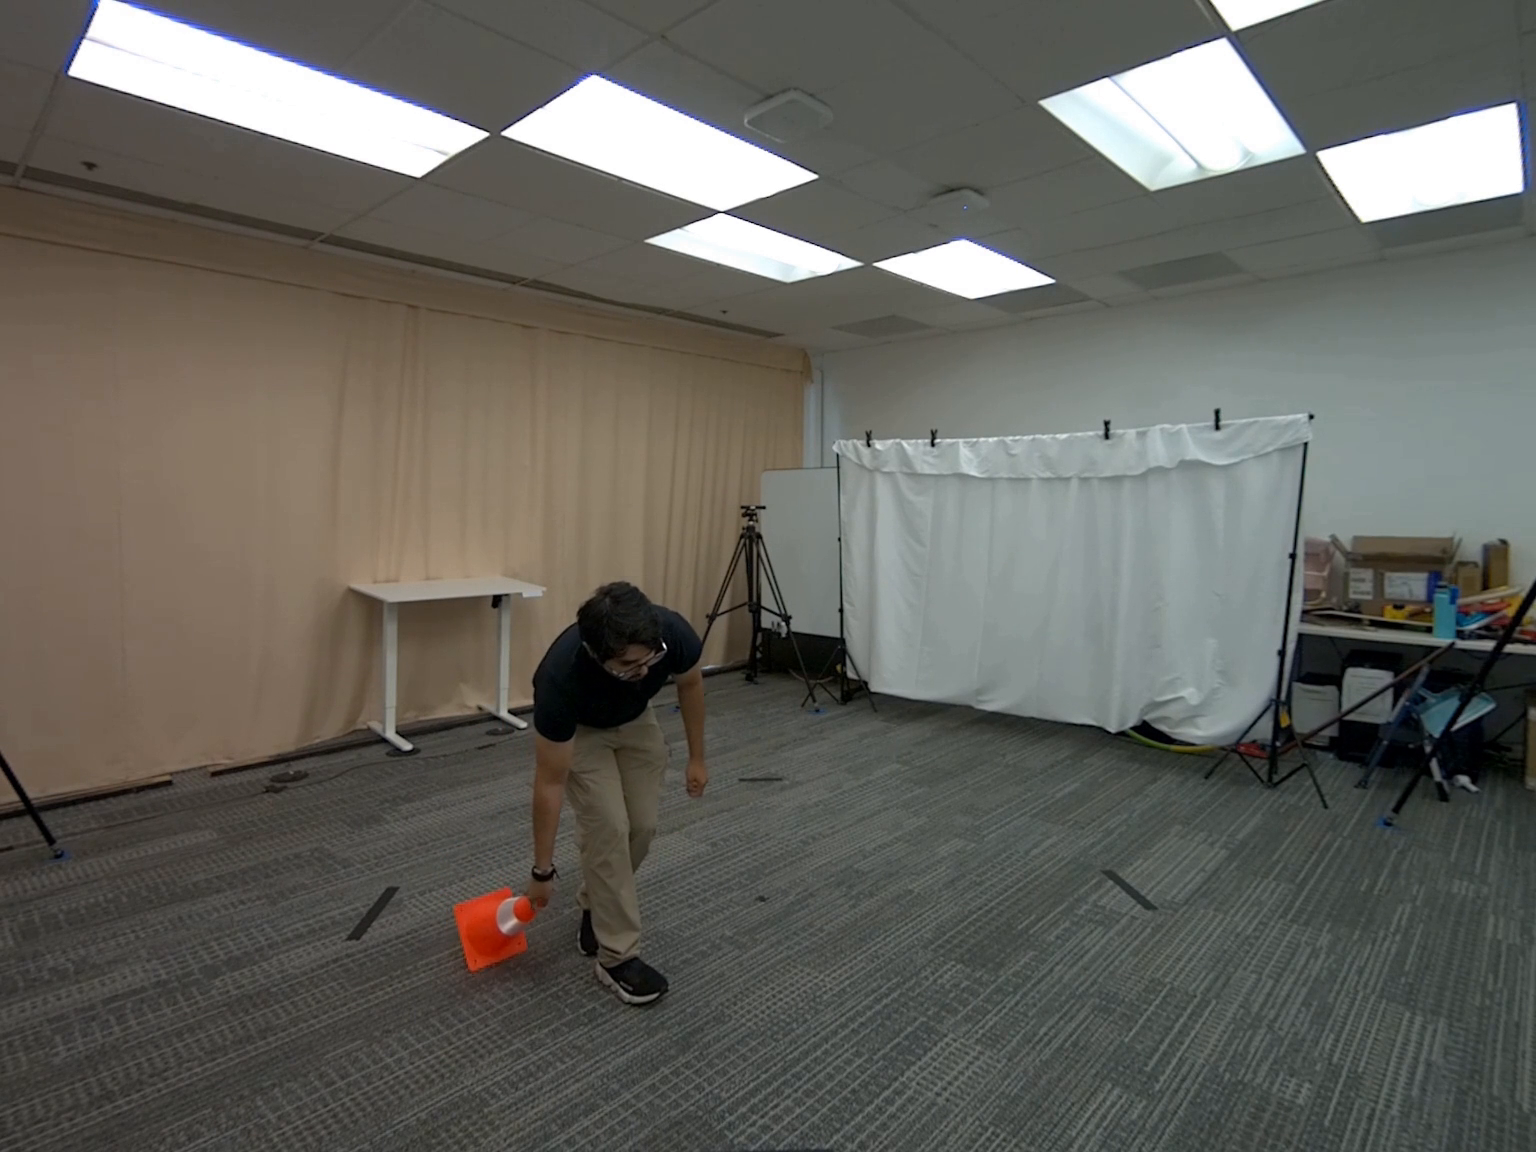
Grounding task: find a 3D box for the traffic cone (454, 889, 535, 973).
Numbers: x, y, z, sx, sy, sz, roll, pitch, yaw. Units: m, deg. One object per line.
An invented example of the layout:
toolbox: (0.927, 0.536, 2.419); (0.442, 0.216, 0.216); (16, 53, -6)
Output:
traffic cone: (-0.750, 1.011, 2.496); (0.197, 0.209, 0.388); (-2, -29, -45)
